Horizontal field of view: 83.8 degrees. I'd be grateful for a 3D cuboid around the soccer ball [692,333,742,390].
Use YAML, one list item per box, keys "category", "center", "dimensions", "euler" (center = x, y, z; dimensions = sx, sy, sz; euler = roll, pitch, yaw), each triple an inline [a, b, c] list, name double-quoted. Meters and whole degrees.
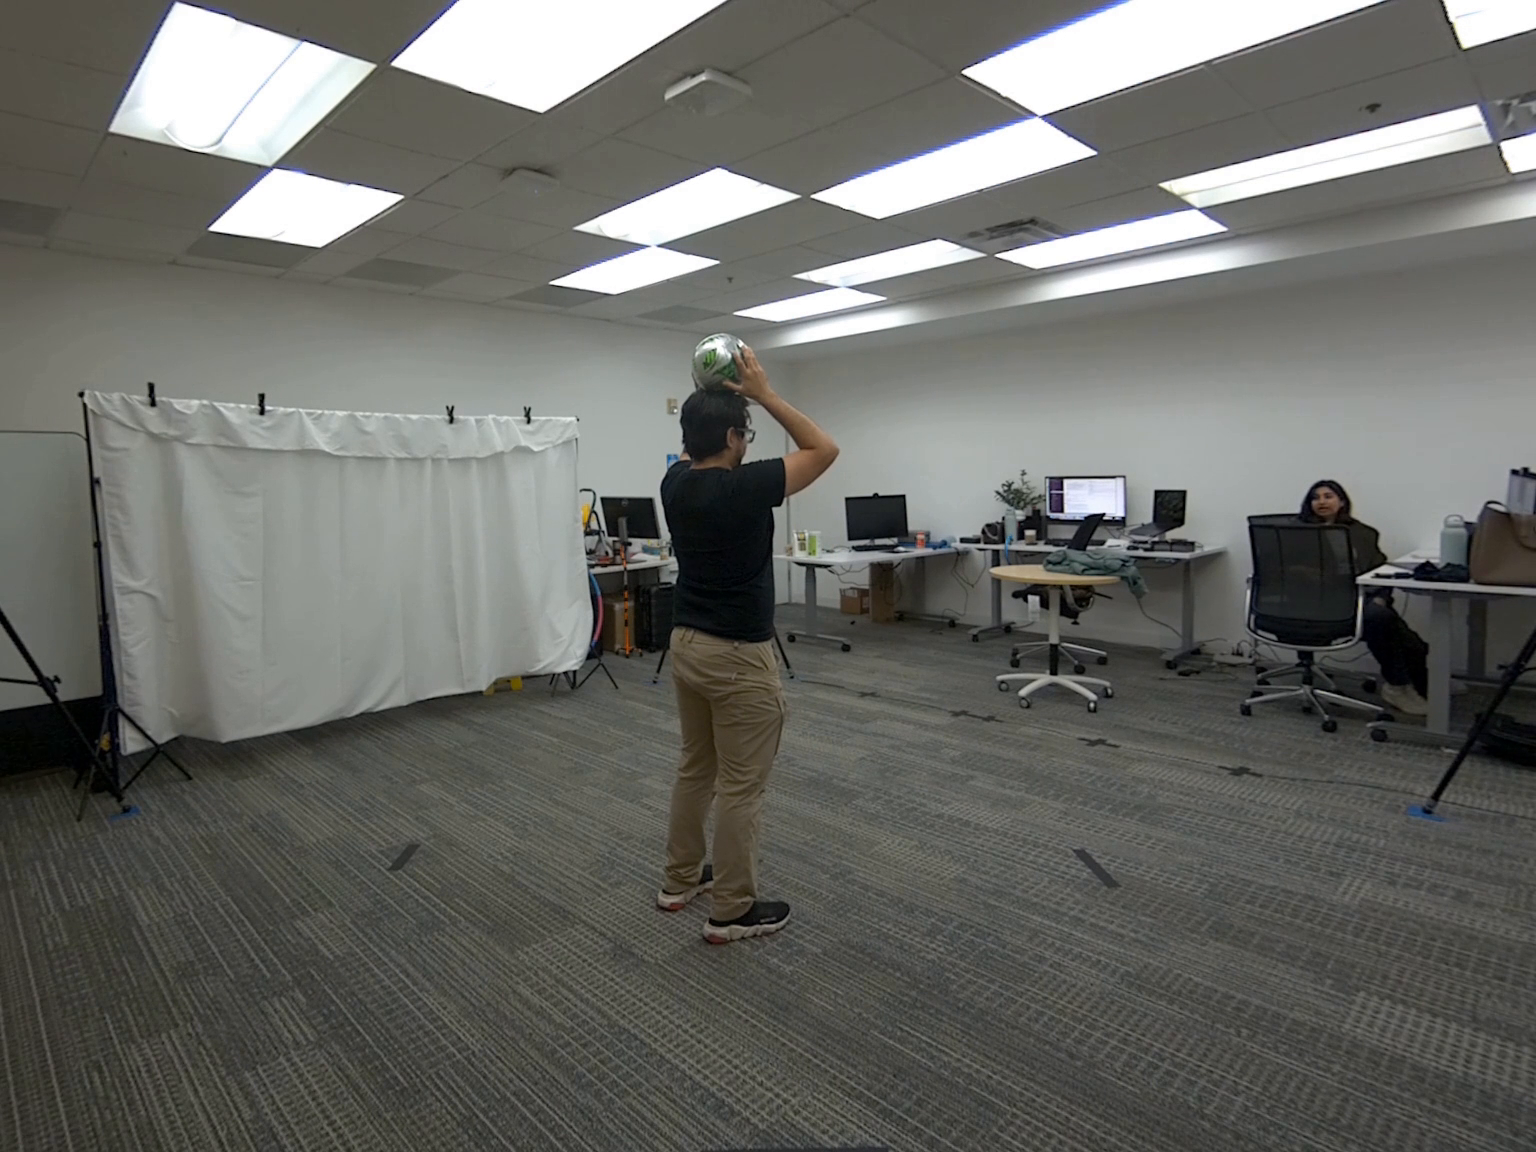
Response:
- category: "soccer ball"
  center: [-0.138, -0.646, 2.622]
  dimensions: [0.187, 0.187, 0.188]
  euler: [-1, 5, -2]
